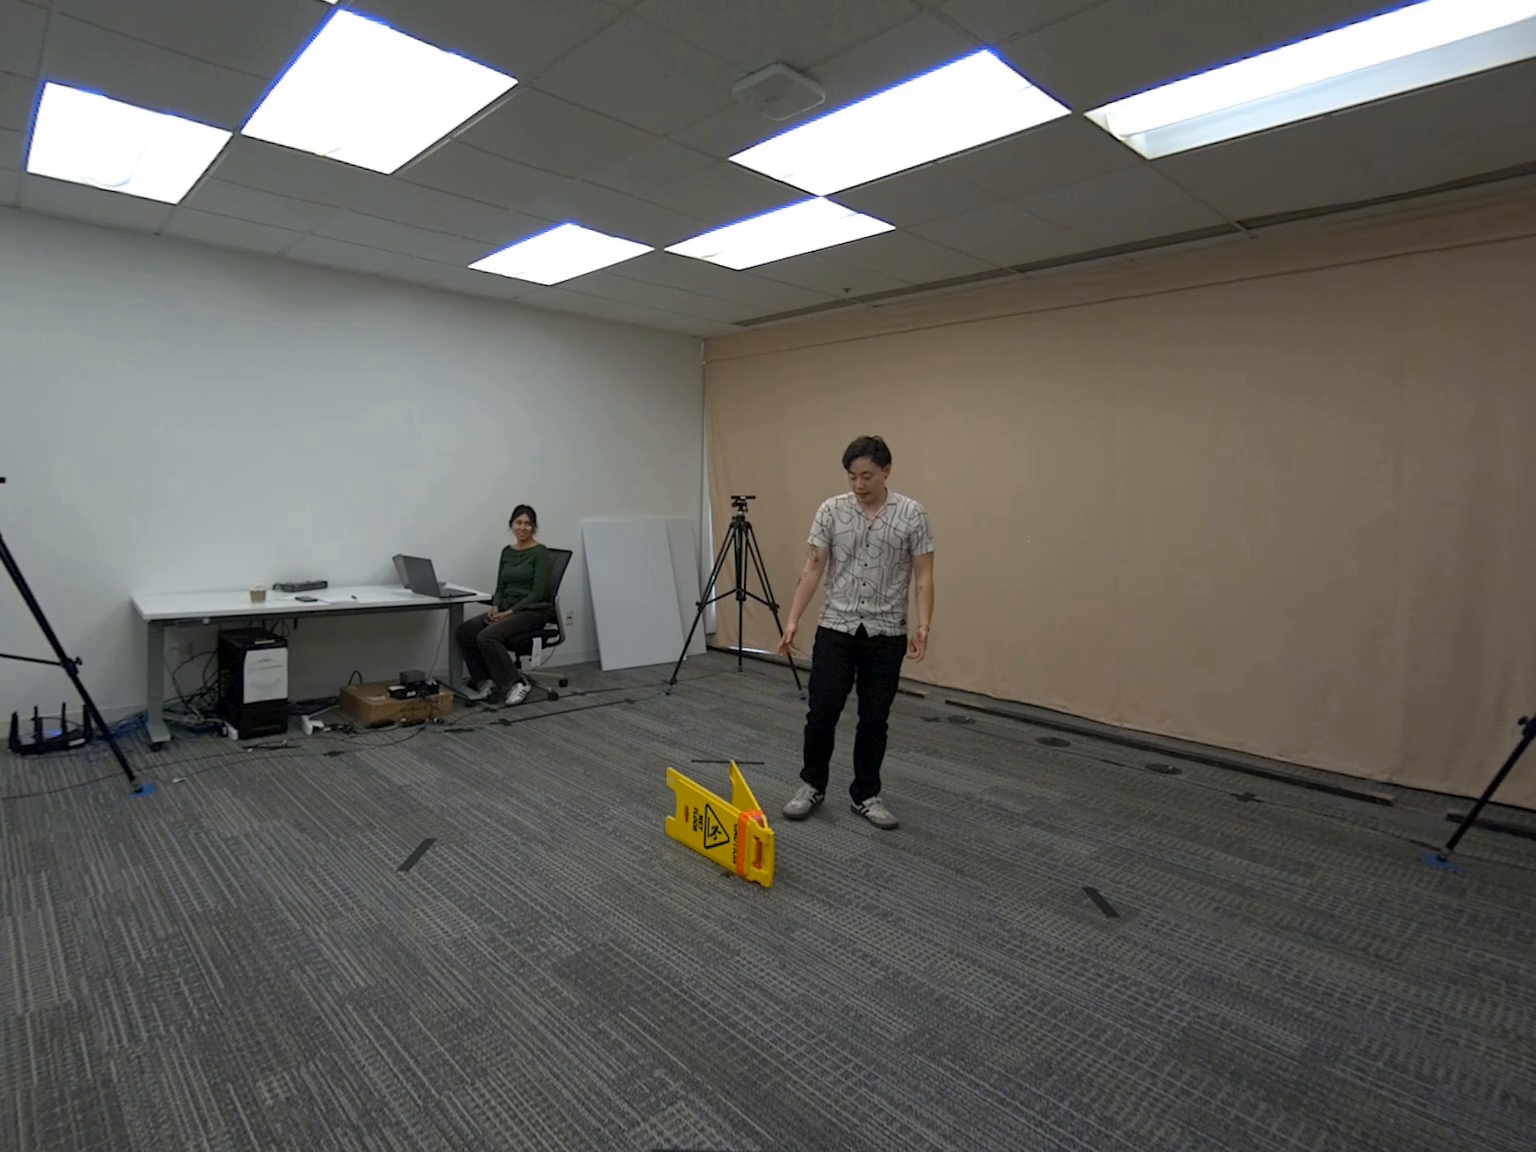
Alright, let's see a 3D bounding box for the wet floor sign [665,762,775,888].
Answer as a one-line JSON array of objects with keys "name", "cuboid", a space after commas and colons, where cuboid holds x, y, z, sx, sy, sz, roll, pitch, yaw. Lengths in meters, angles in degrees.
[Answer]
[{"name": "wet floor sign", "cuboid": [-0.143, 0.958, 3.238, 0.284, 0.281, 0.661, -1, 7, -28]}]
